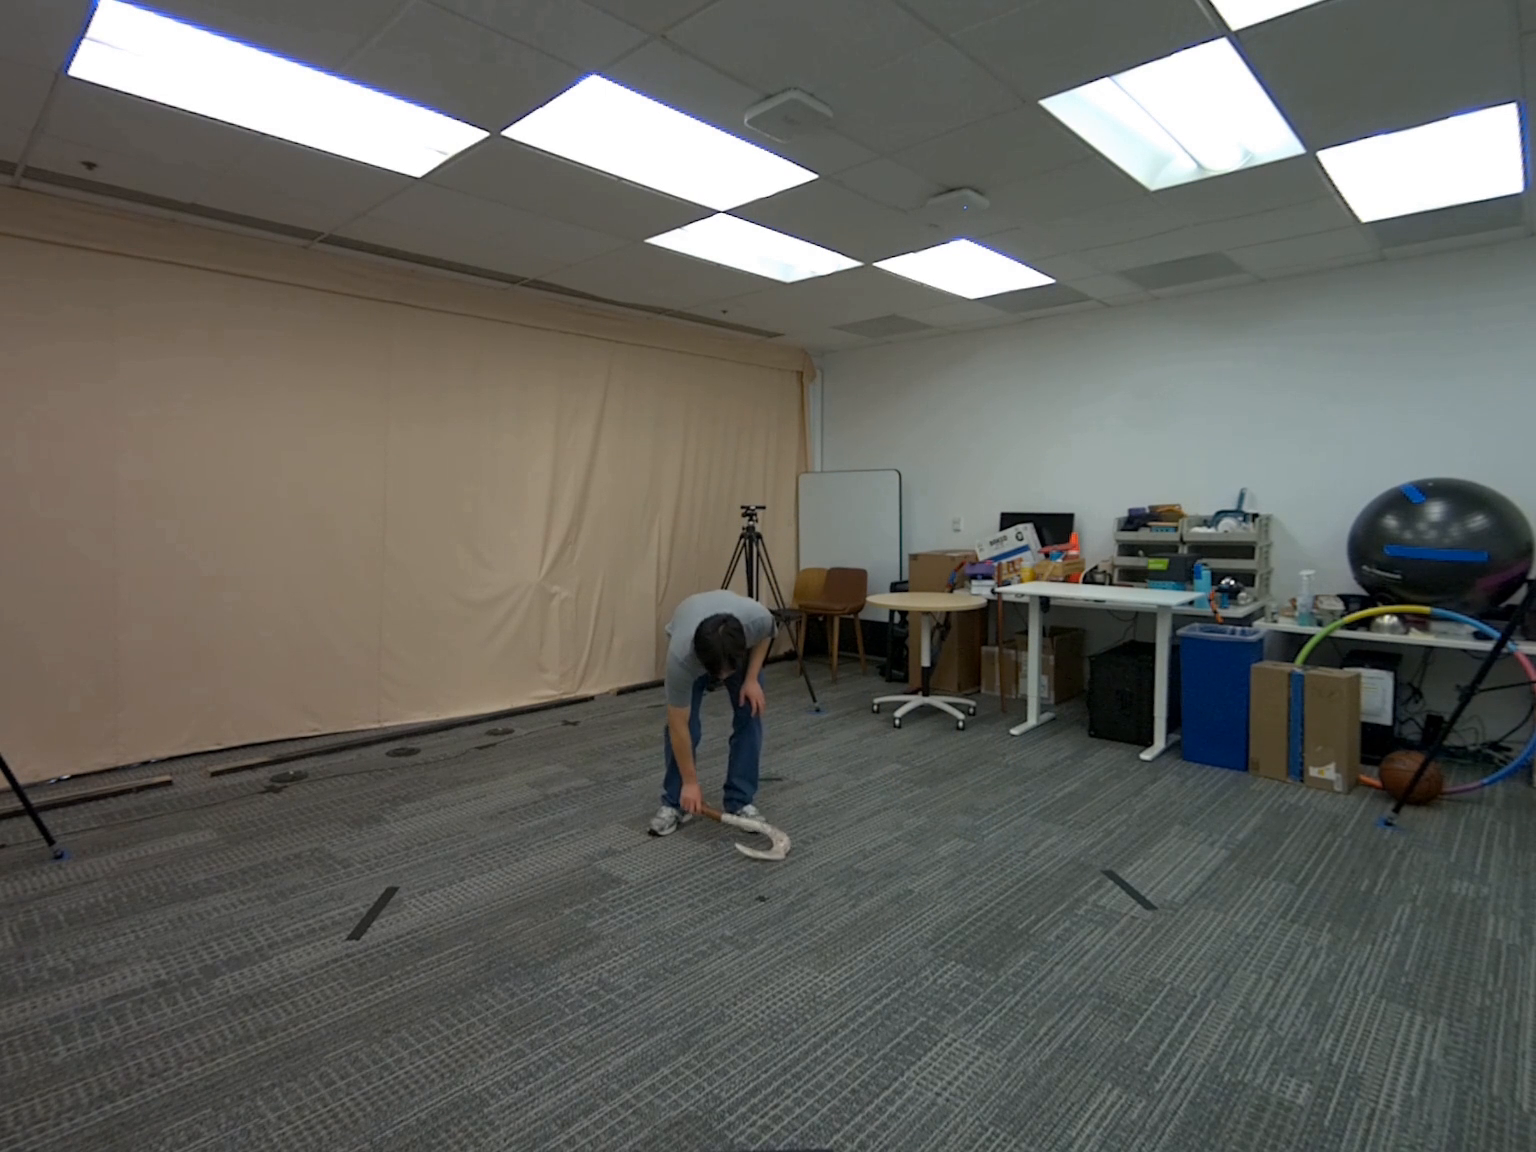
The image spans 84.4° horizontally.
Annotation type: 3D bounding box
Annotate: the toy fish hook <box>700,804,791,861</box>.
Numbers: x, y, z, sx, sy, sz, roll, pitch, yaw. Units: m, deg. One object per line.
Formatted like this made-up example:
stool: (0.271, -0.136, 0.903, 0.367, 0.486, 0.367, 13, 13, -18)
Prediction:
toy fish hook: (-0.161, 1.017, 3.427, 0.518, 0.048, 0.221, 15, 14, 19)
